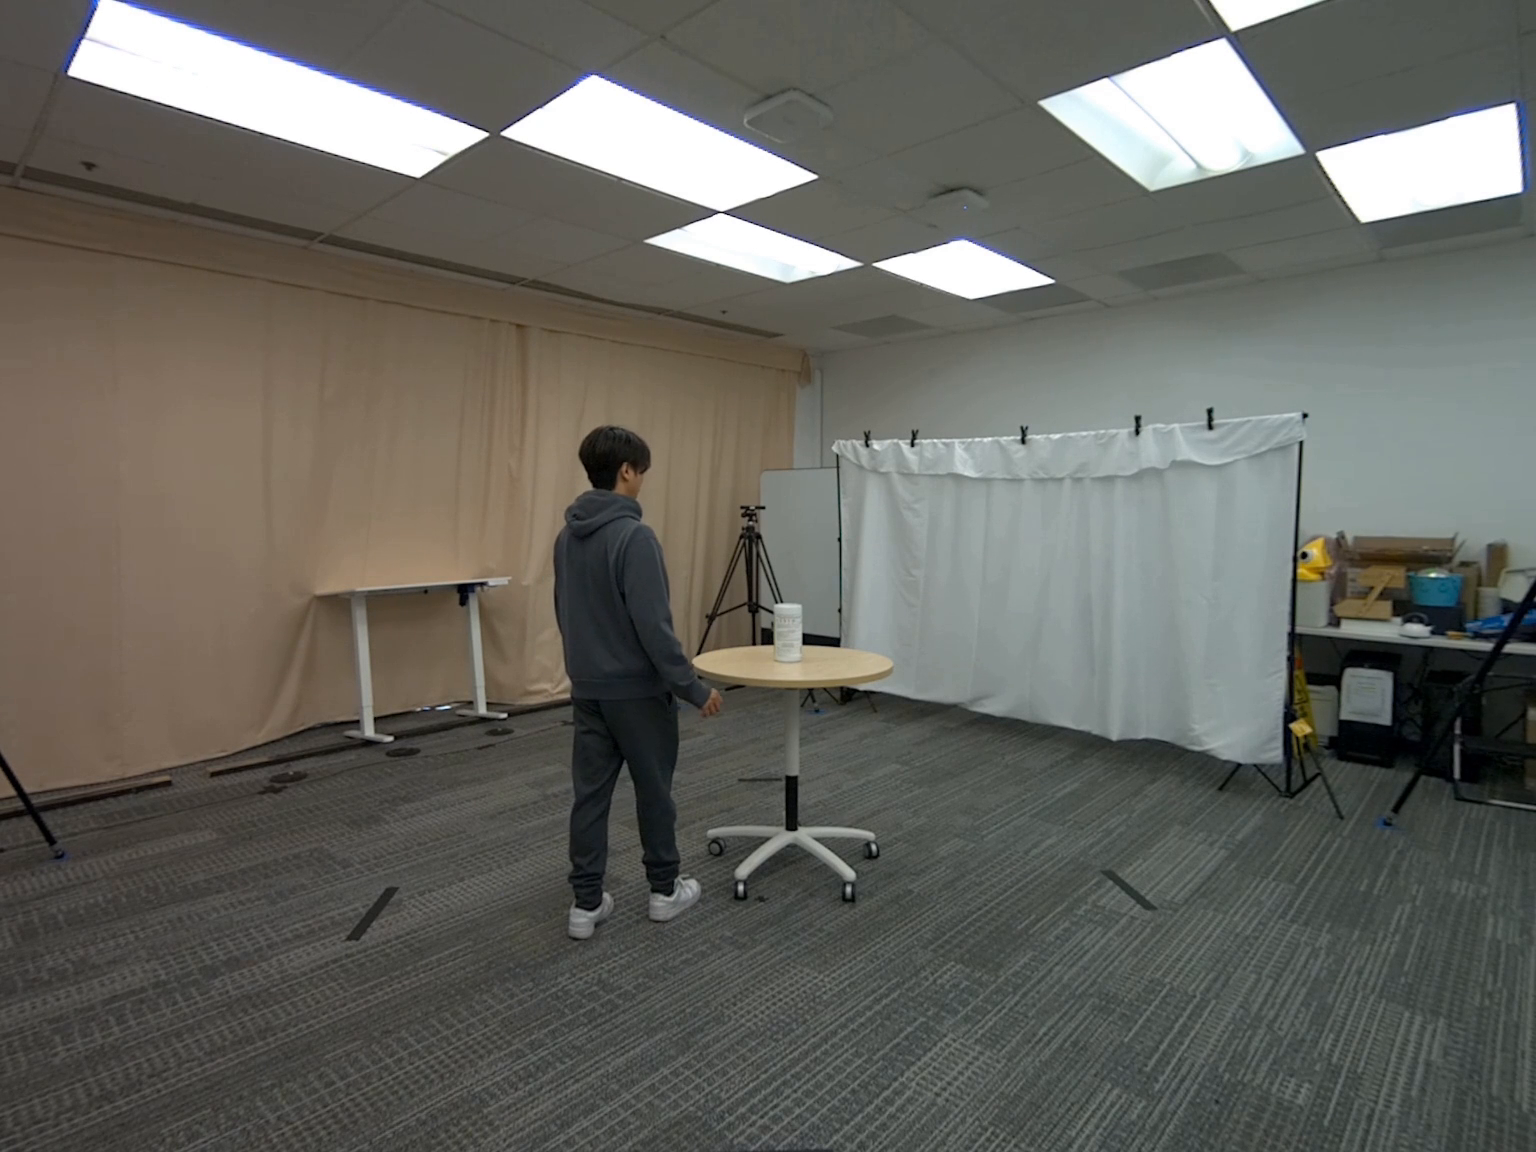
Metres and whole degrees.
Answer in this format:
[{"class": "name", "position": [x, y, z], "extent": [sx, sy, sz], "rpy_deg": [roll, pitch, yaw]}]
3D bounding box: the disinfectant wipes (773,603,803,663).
[{"class": "disinfectant wipes", "position": [0.082, 0.218, 3.241], "extent": [0.118, 0.217, 0.118], "rpy_deg": [-1, 2, -2]}]
